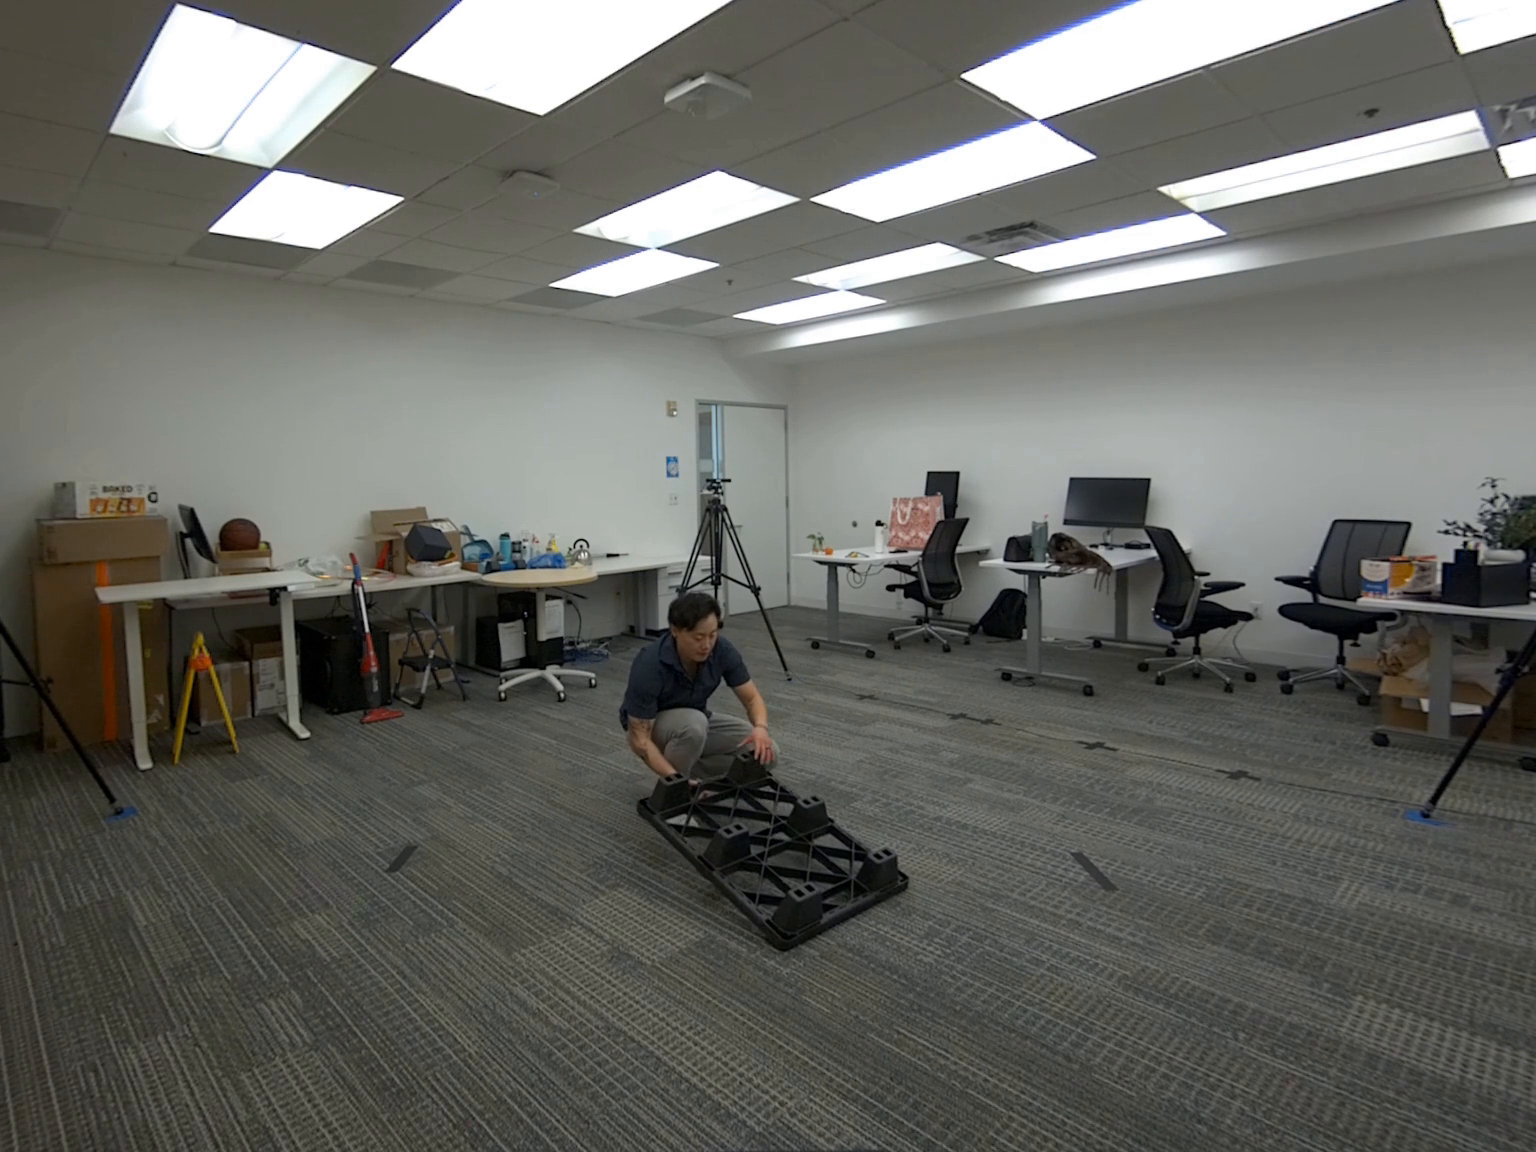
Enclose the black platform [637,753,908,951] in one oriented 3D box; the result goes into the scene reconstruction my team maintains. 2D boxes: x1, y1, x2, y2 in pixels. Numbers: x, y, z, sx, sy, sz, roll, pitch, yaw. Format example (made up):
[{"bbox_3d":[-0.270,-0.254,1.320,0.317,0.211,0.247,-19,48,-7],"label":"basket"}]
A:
[{"bbox_3d":[0.004,0.892,2.976,0.589,0.142,0.836,-6,23,-42],"label":"black platform"}]
